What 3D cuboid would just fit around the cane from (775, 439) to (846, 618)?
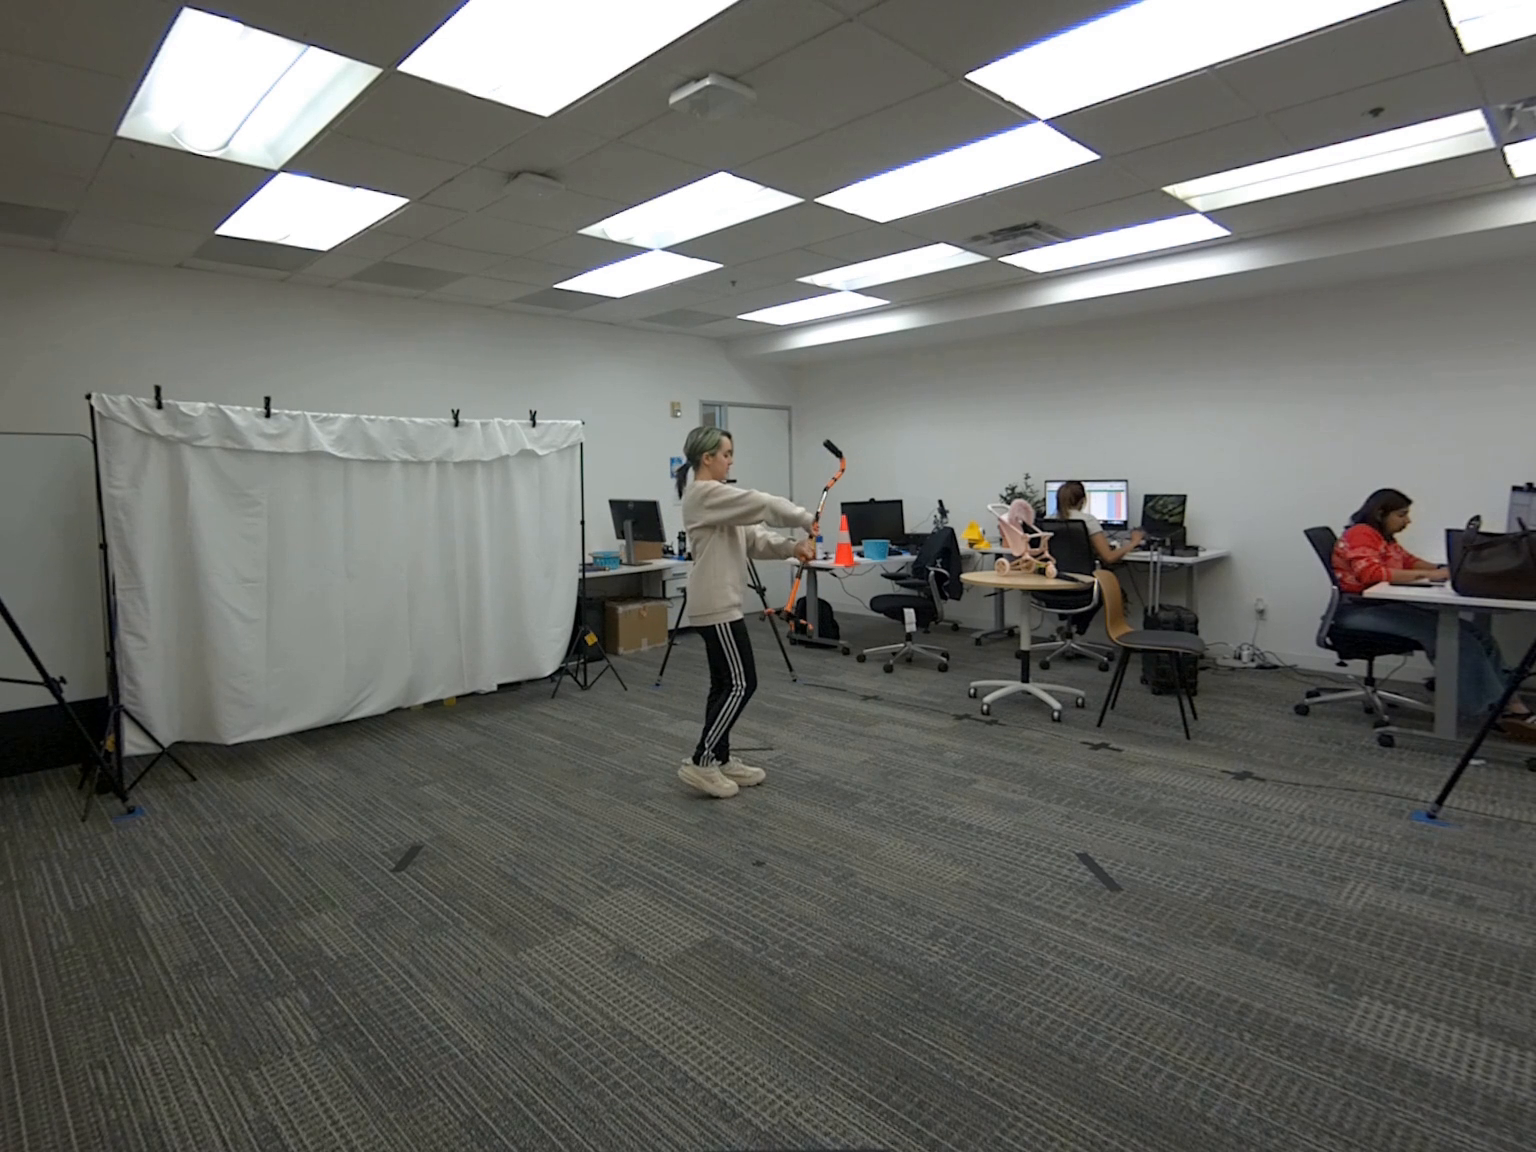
[{"bbox_3d":[0.216,-0.178,3.793,0.155,0.918,0.199,-6,-33,46],"label":"cane"}]
